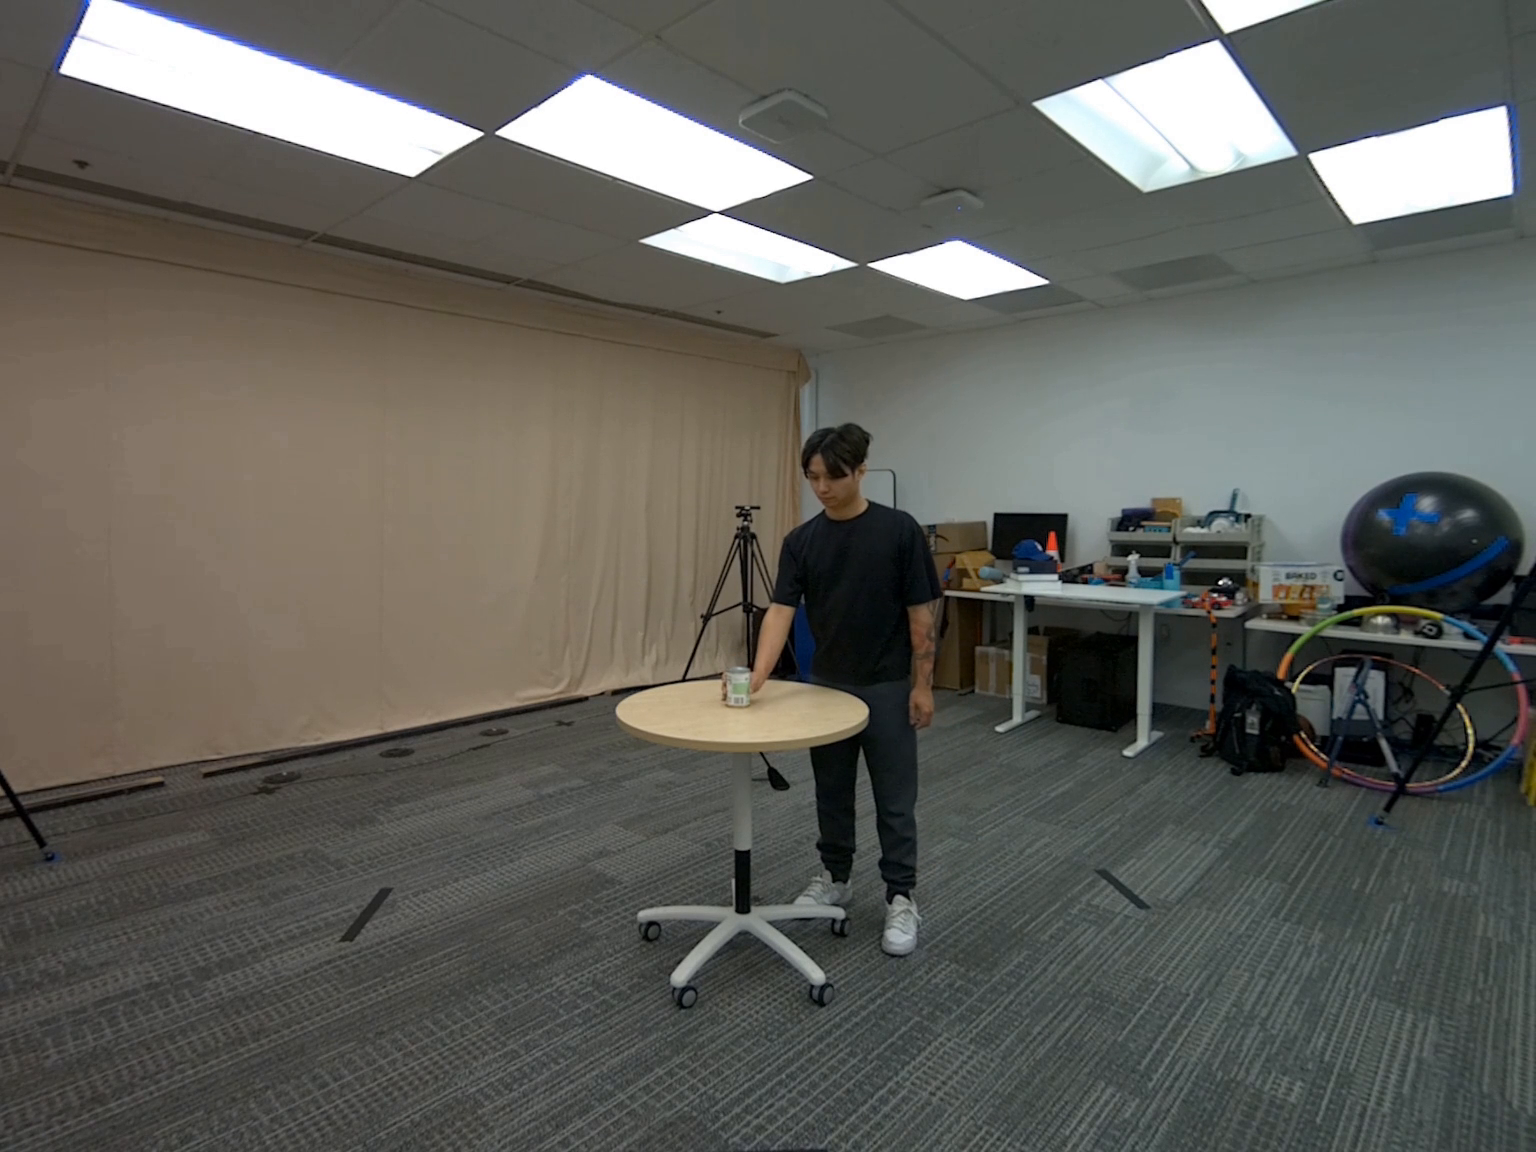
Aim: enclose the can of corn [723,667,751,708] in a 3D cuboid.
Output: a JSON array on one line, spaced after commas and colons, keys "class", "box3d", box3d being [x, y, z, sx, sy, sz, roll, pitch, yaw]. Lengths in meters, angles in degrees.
[{"class": "can of corn", "box3d": [-0.076, 0.340, 2.576, 0.074, 0.111, 0.074, -2, 5, -2]}]
